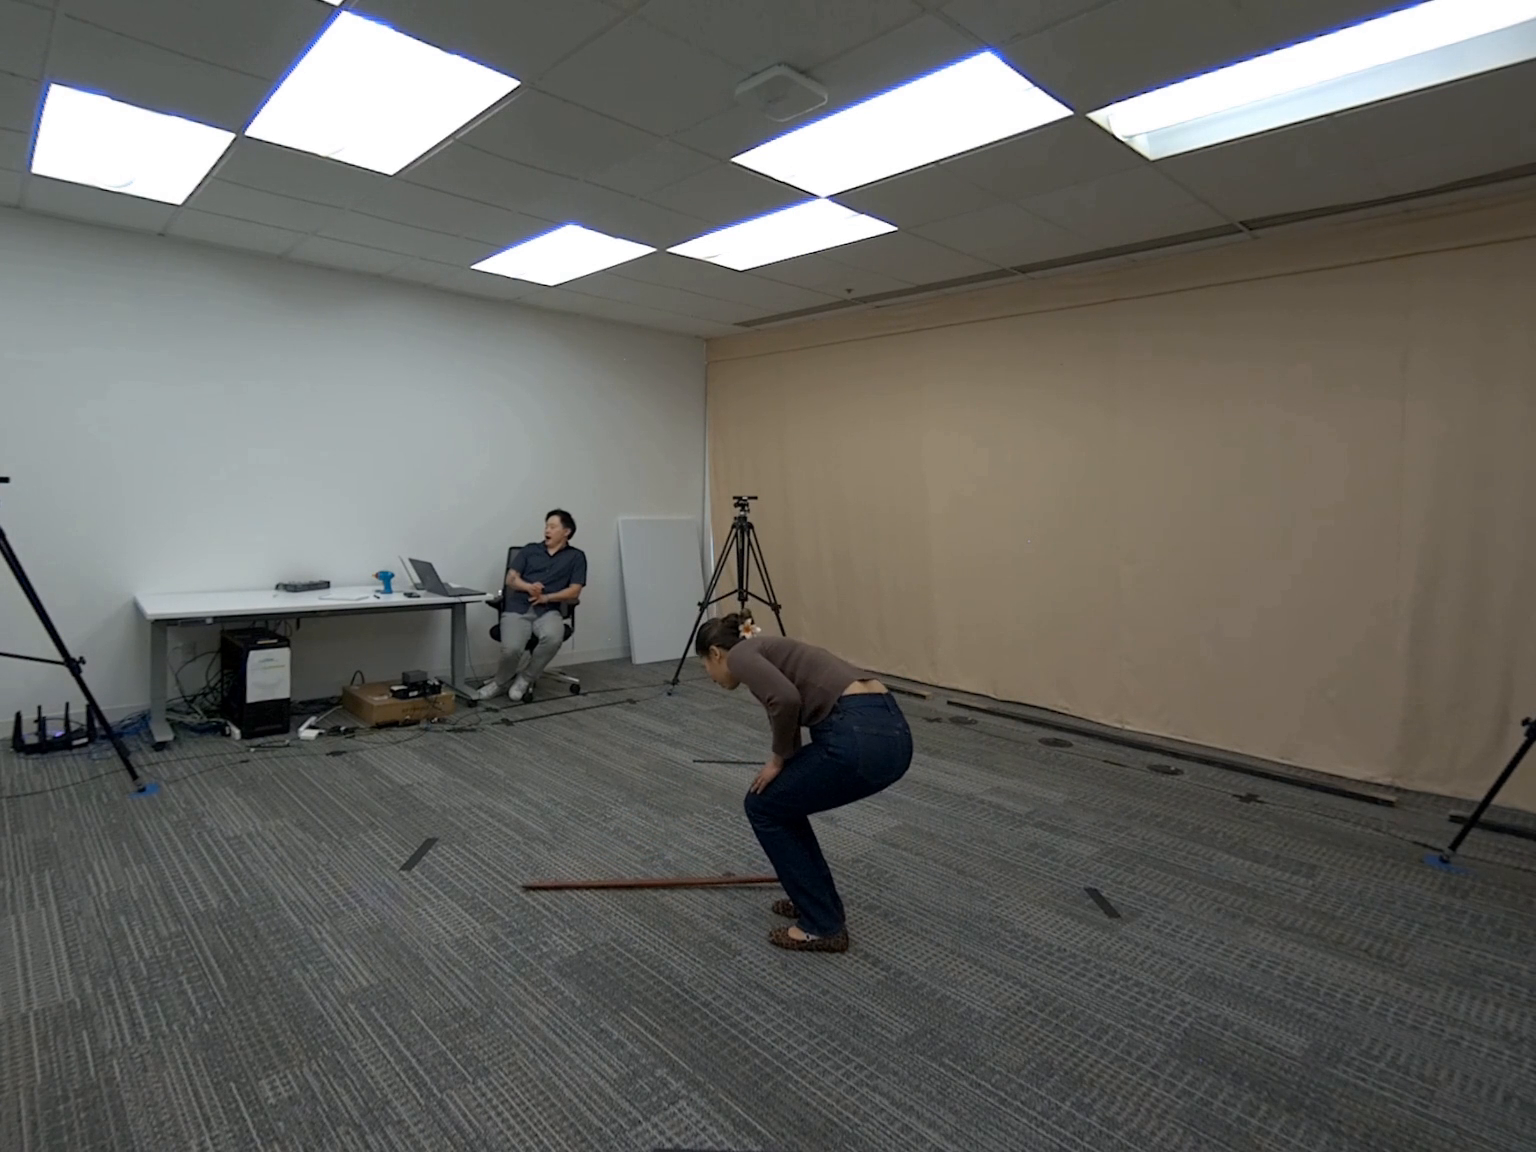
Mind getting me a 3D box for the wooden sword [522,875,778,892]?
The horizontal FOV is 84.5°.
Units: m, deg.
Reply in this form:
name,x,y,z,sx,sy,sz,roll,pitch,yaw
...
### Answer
name,x,y,z,sx,sy,sz,roll,pitch,yaw
wooden sword,-0.361,1.081,2.987,1.021,0.051,0.024,1,0,-5
